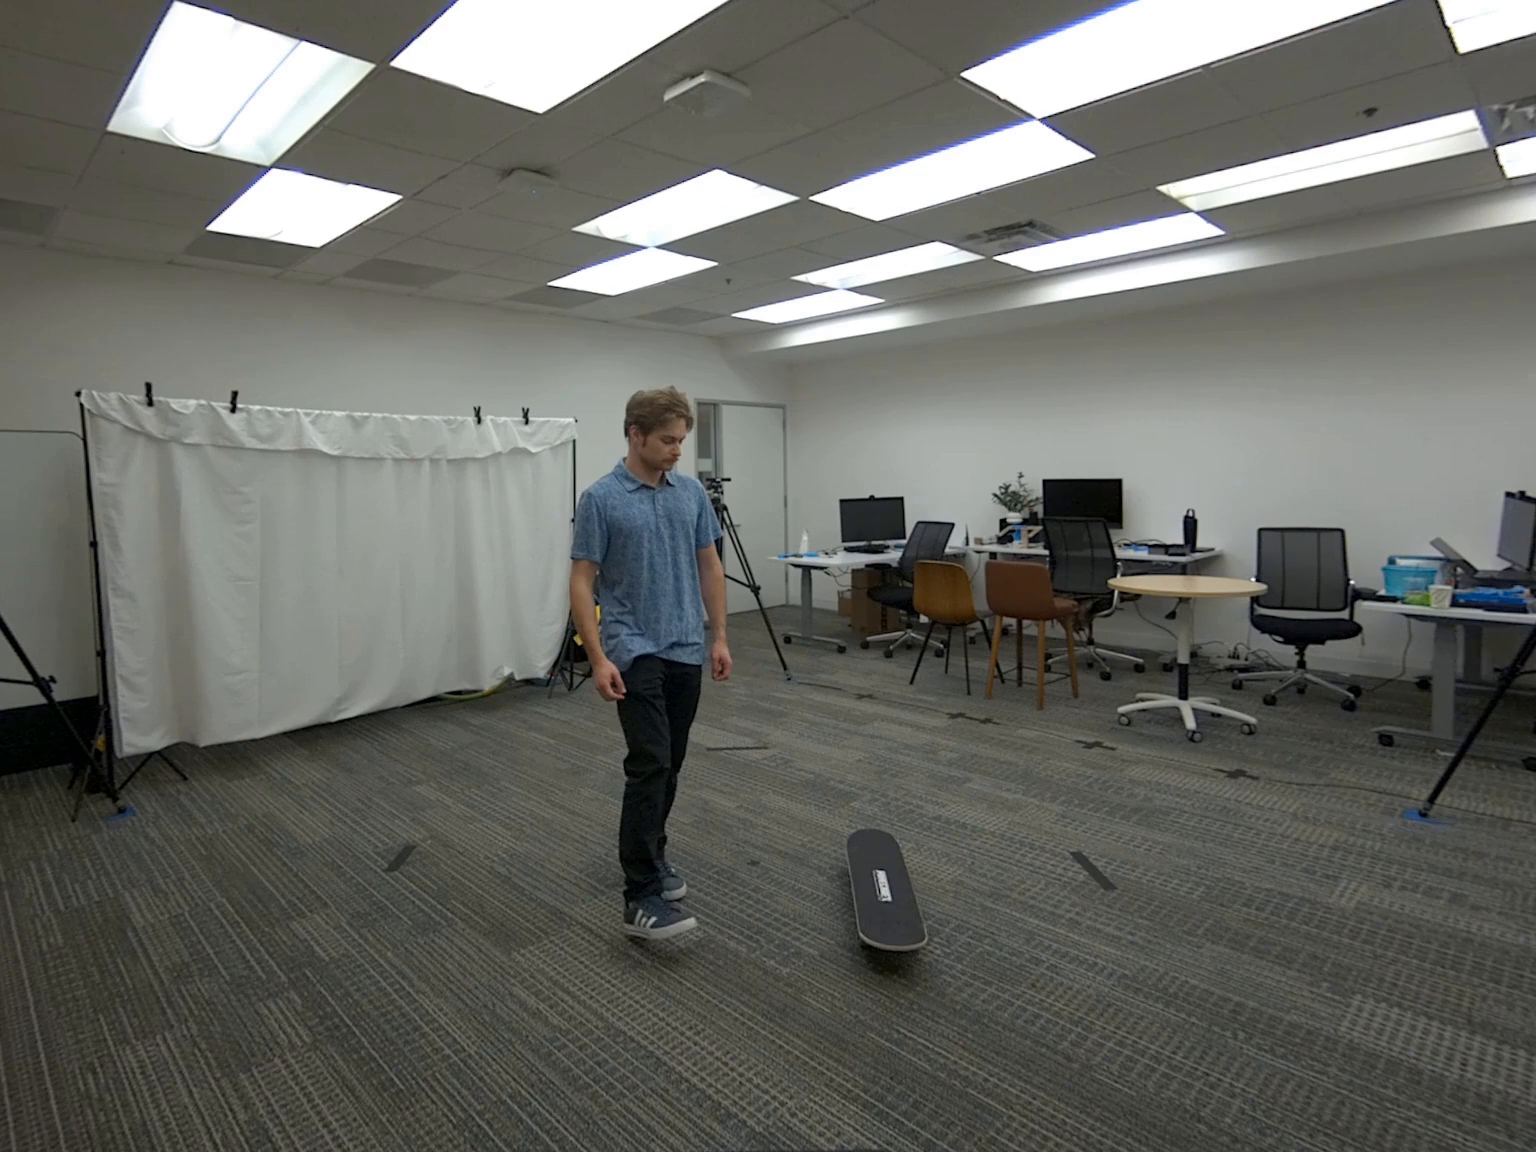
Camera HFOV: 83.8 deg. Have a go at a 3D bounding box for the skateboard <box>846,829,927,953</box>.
[{"bbox_3d":[0.368,1.020,2.731,0.194,0.110,0.787,0,7,1],"label":"skateboard"}]
